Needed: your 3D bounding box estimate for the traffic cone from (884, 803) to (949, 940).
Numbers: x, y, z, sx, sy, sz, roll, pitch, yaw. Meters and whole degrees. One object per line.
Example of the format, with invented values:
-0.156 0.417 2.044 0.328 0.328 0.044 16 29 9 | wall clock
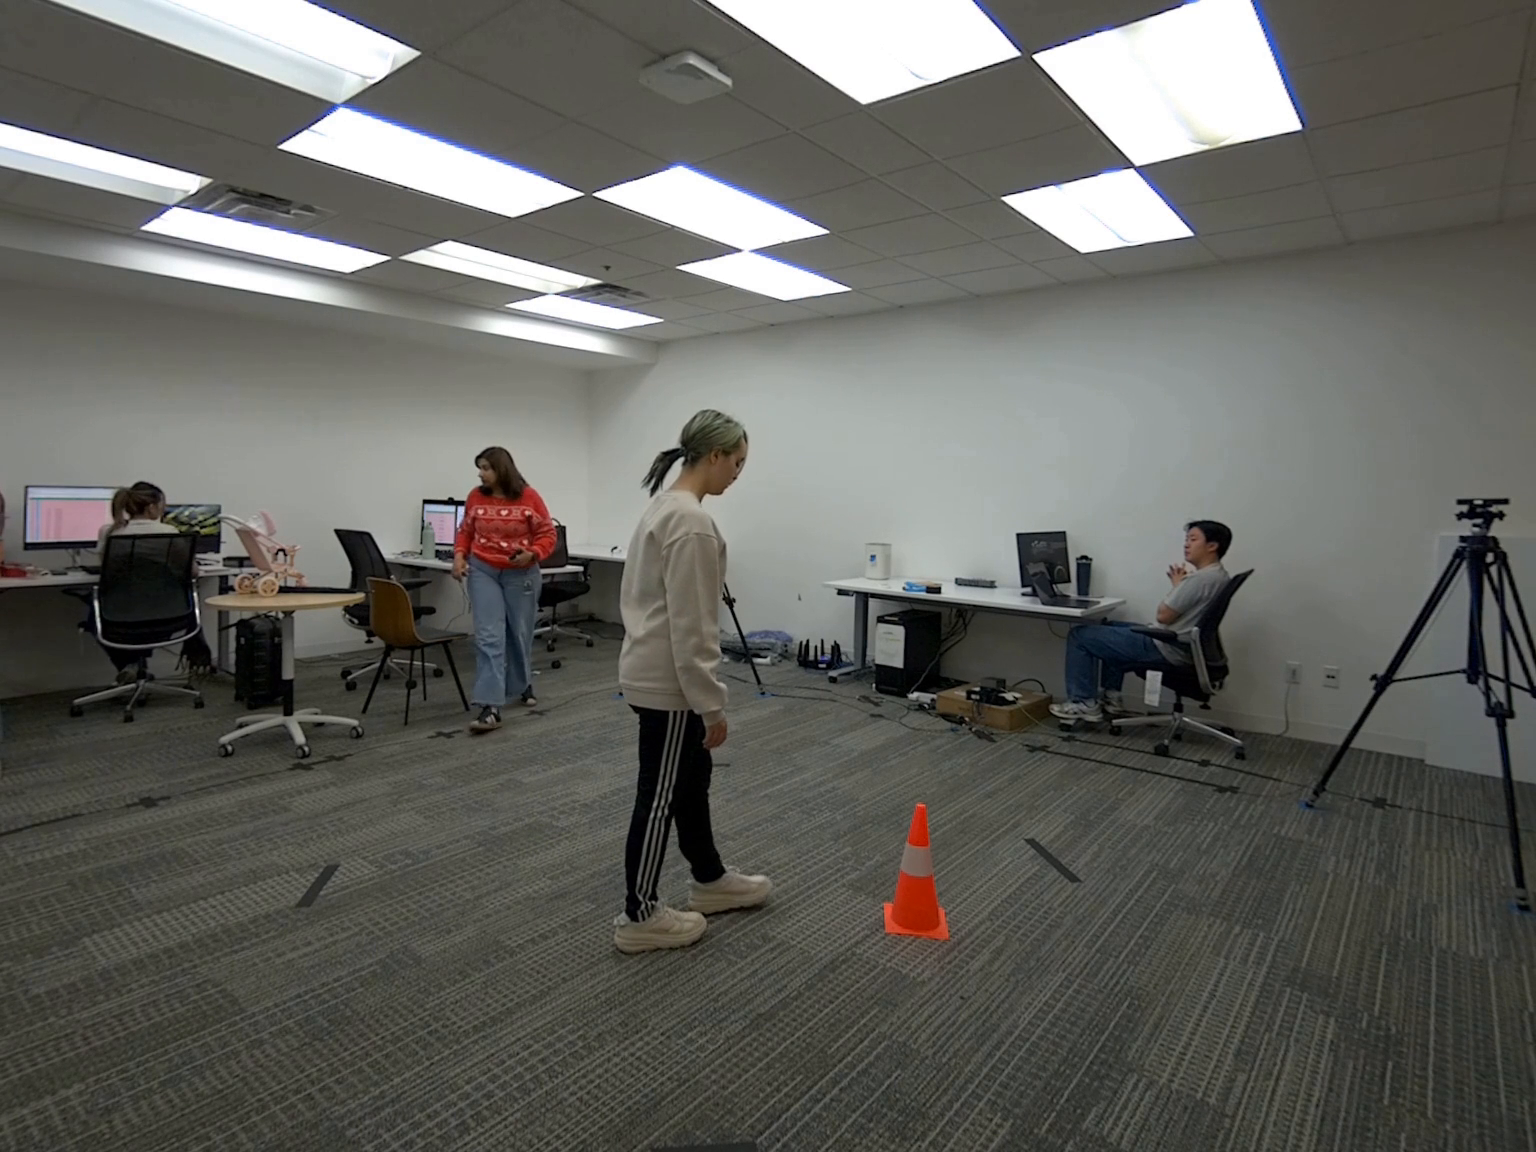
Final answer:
0.485 0.937 2.764 0.206 0.383 0.202 2 3 6 | traffic cone
